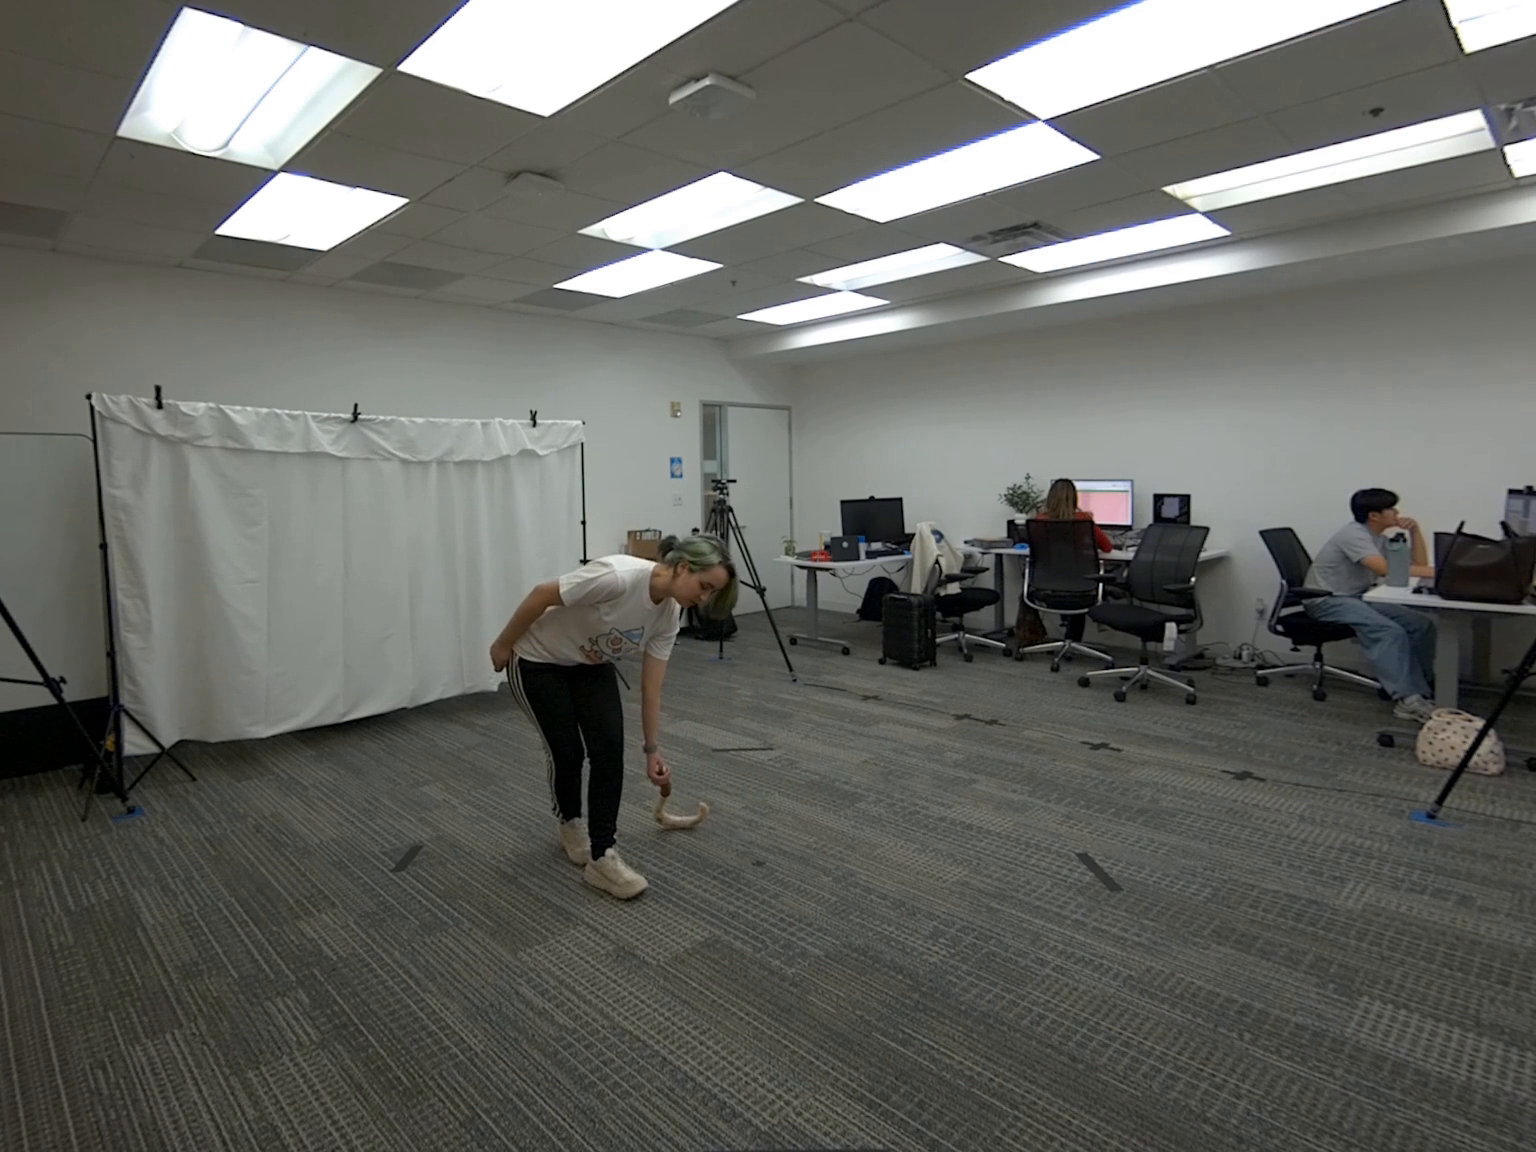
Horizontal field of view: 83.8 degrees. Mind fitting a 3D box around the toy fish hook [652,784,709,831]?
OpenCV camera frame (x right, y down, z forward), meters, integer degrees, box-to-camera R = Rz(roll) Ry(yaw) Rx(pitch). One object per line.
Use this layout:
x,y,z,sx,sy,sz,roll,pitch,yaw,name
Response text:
-0.342,0.847,3.268,0.224,0.050,0.492,-3,-41,-3,toy fish hook
